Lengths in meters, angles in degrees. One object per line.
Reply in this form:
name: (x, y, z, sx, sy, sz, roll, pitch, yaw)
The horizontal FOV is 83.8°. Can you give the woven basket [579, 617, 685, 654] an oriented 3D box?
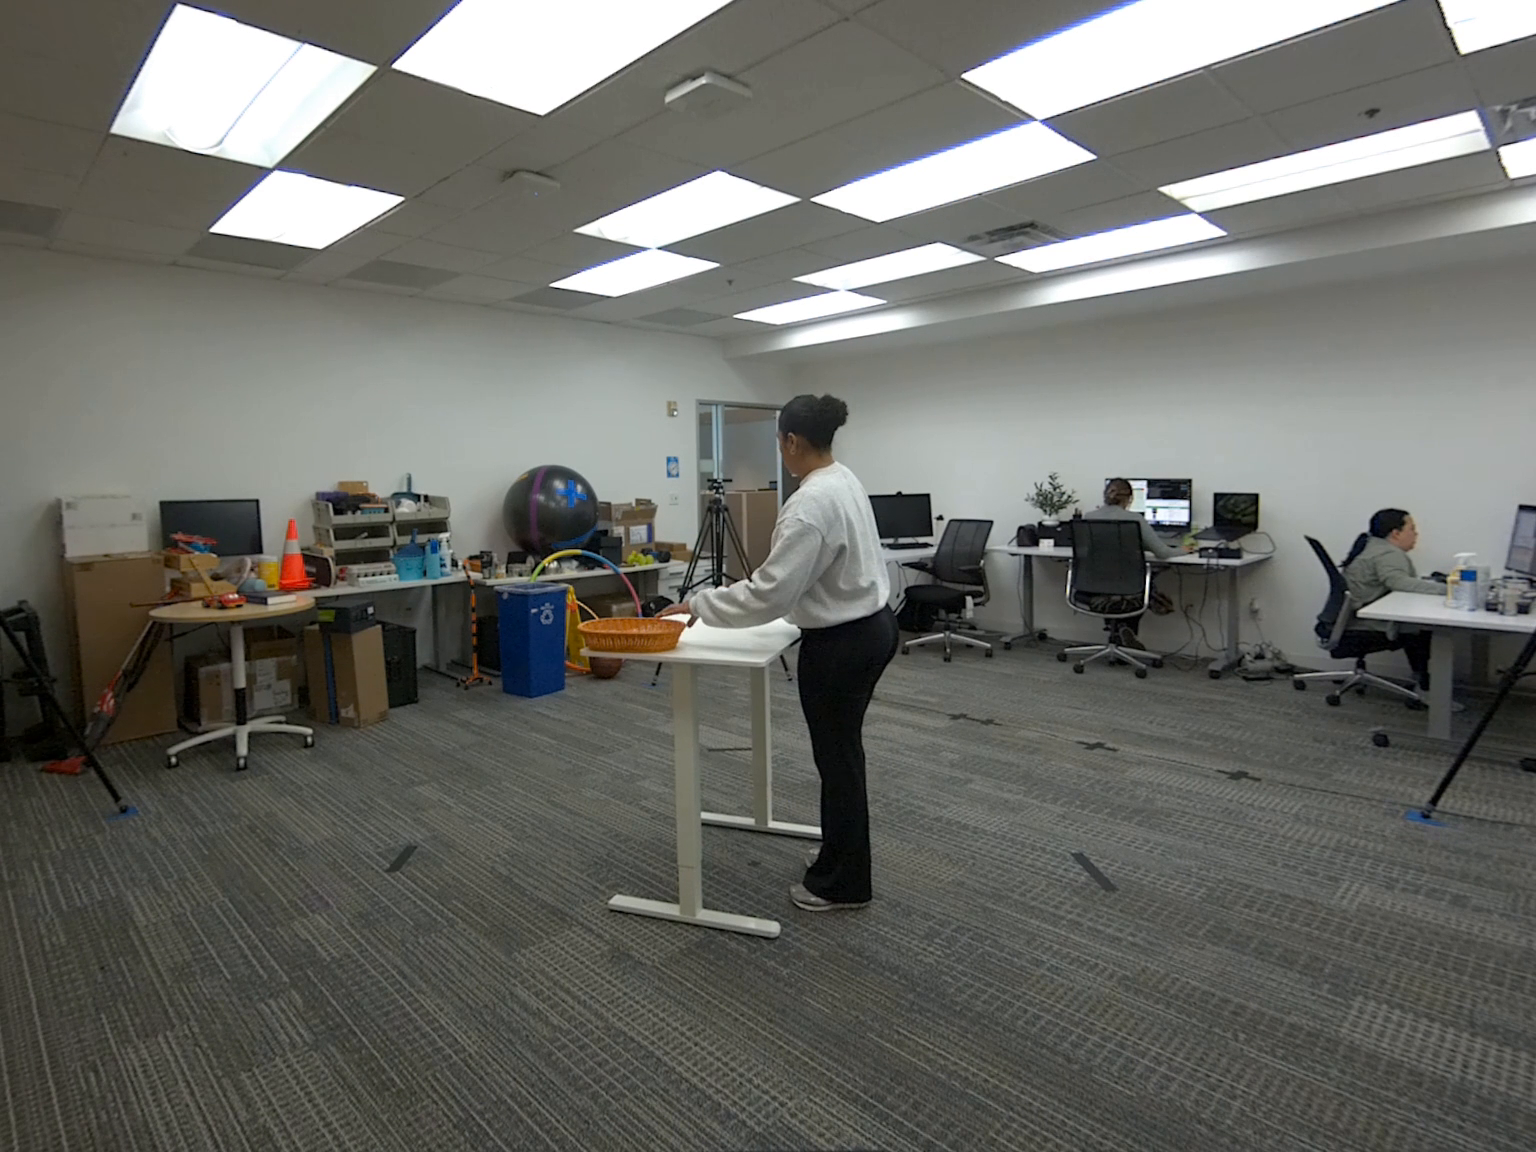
woven basket: (-0.414, 0.192, 2.668, 0.355, 0.073, 0.250, 0, 7, 13)
